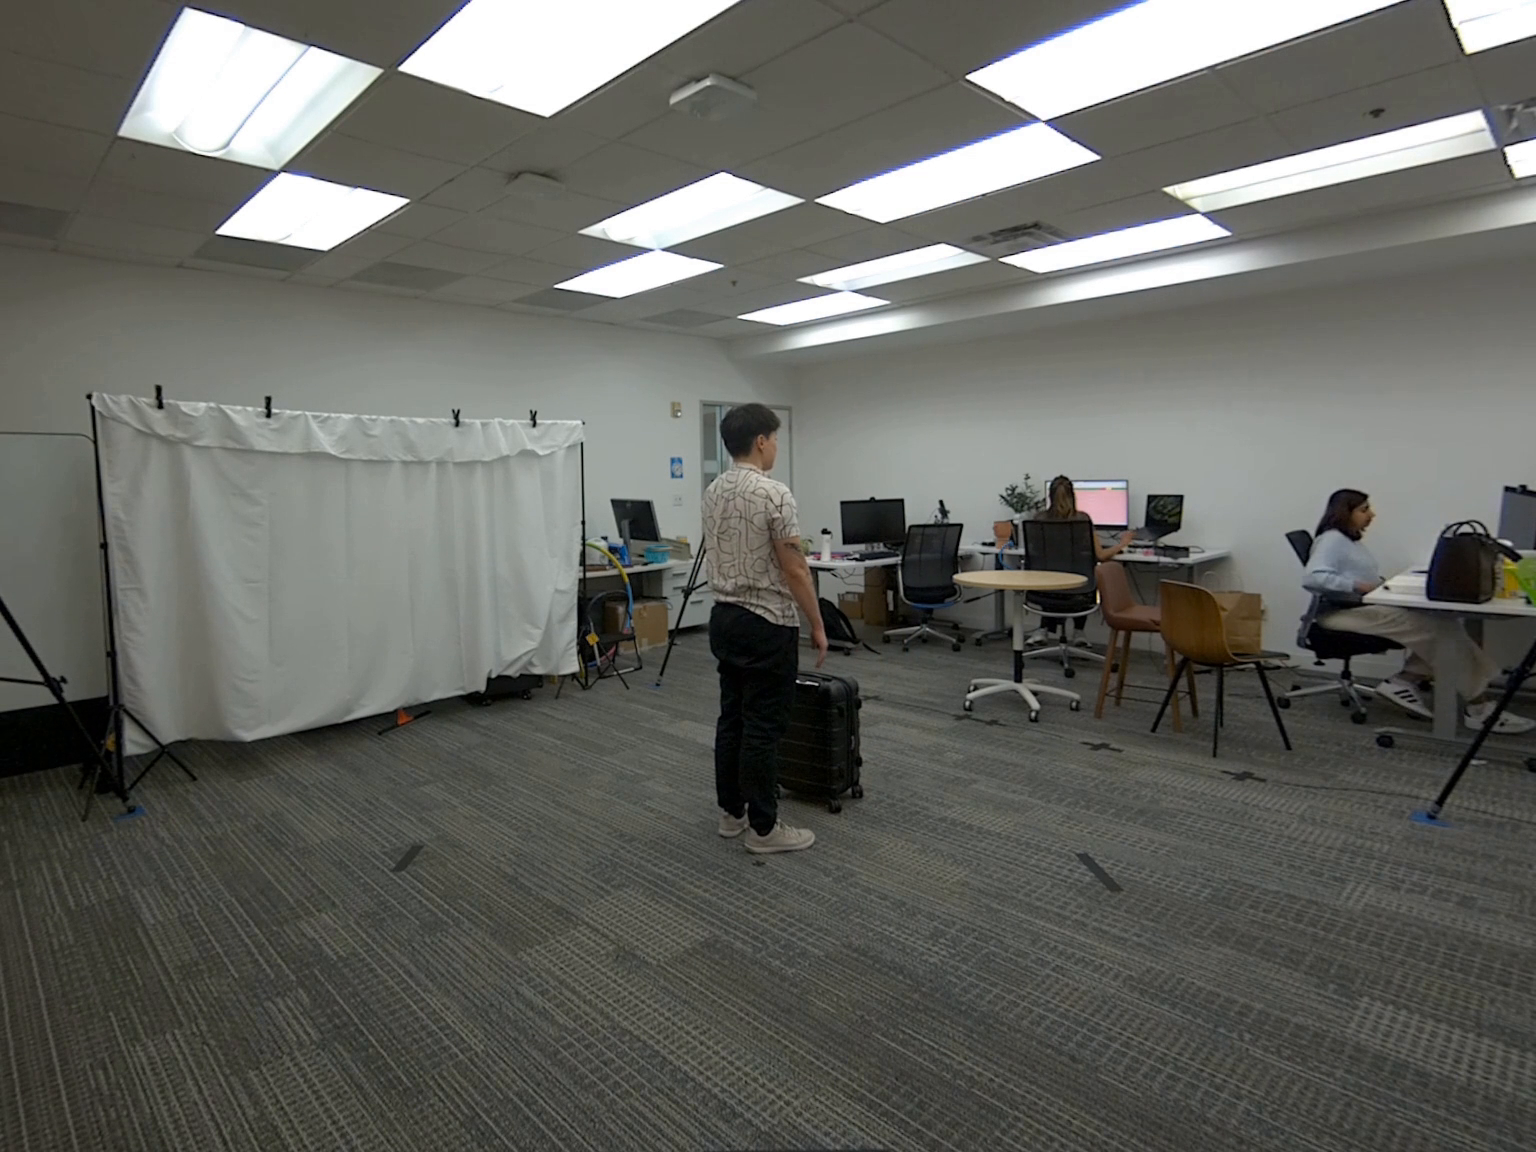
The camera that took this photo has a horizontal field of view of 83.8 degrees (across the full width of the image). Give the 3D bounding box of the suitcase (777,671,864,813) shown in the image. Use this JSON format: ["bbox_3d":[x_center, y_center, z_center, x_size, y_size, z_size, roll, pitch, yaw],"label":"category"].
[{"bbox_3d":[0.211,0.696,3.760,0.386,0.548,0.242,2,3,36],"label":"suitcase"}]
